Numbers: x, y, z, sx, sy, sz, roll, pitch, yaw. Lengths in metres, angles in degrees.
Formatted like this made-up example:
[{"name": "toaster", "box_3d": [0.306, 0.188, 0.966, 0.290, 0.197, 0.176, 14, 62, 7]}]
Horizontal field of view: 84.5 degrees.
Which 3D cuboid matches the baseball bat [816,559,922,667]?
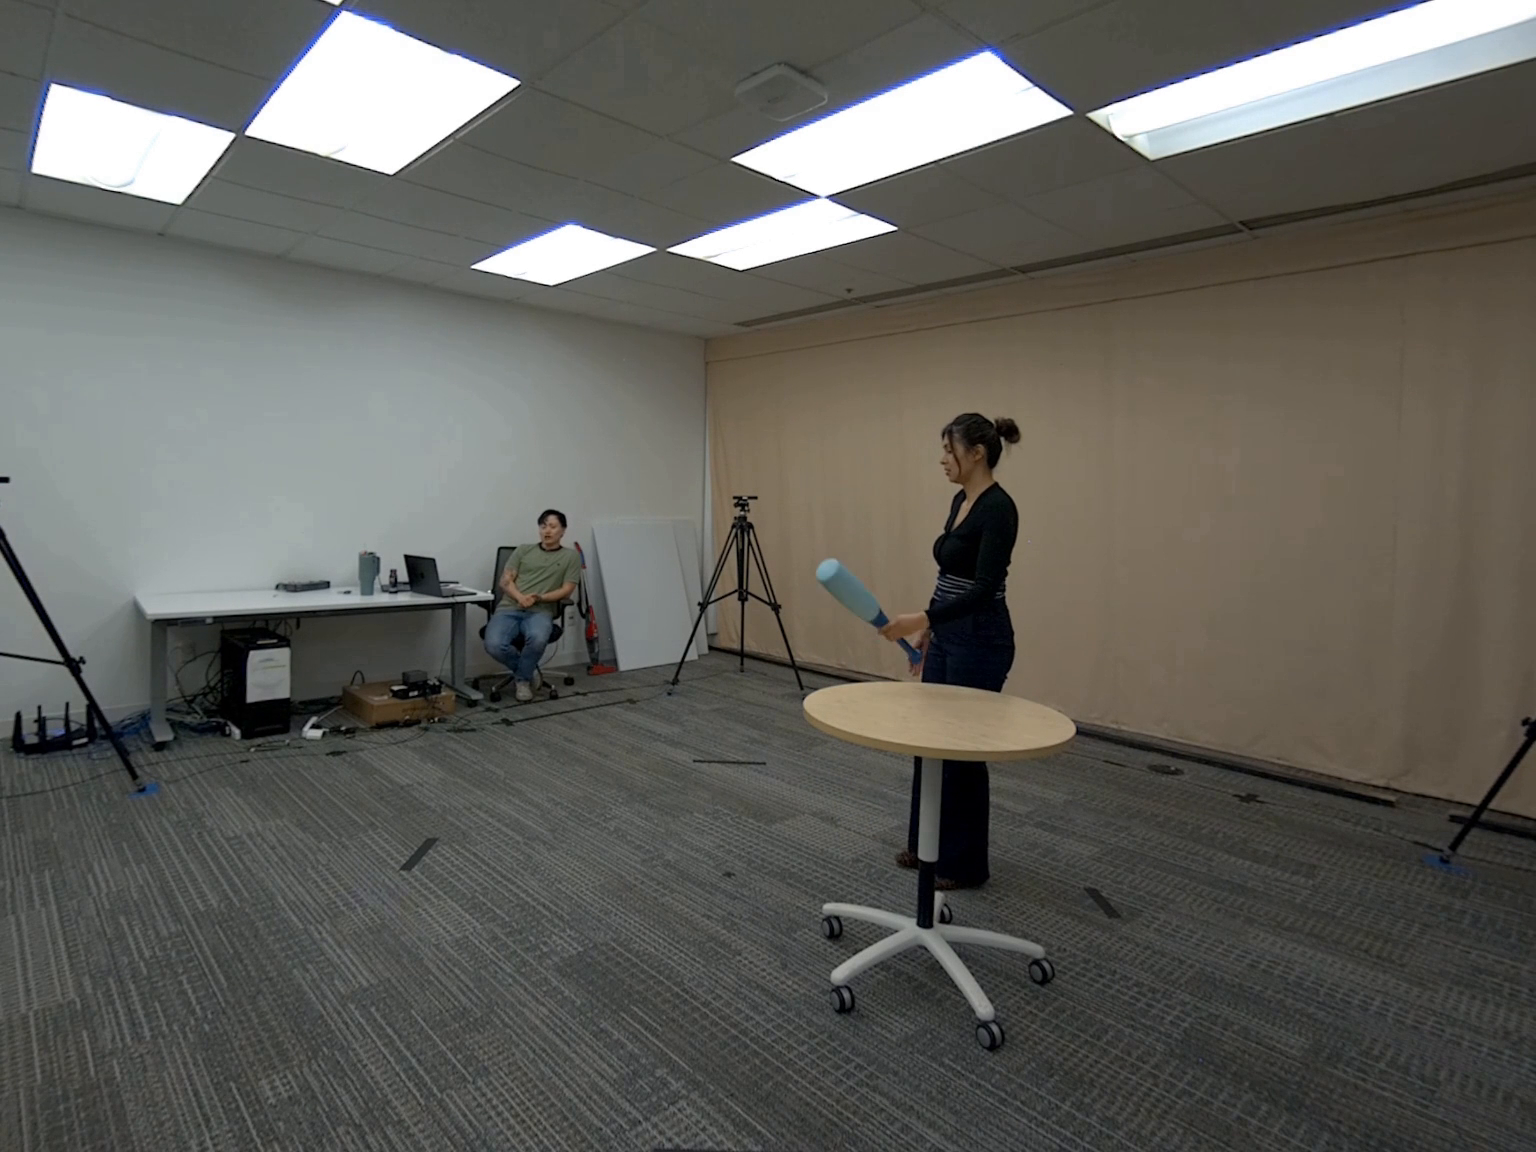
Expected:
[{"name": "baseball bat", "box_3d": [0.332, 0.124, 2.650, 0.091, 0.089, 0.527, 6, -30, 51]}]
